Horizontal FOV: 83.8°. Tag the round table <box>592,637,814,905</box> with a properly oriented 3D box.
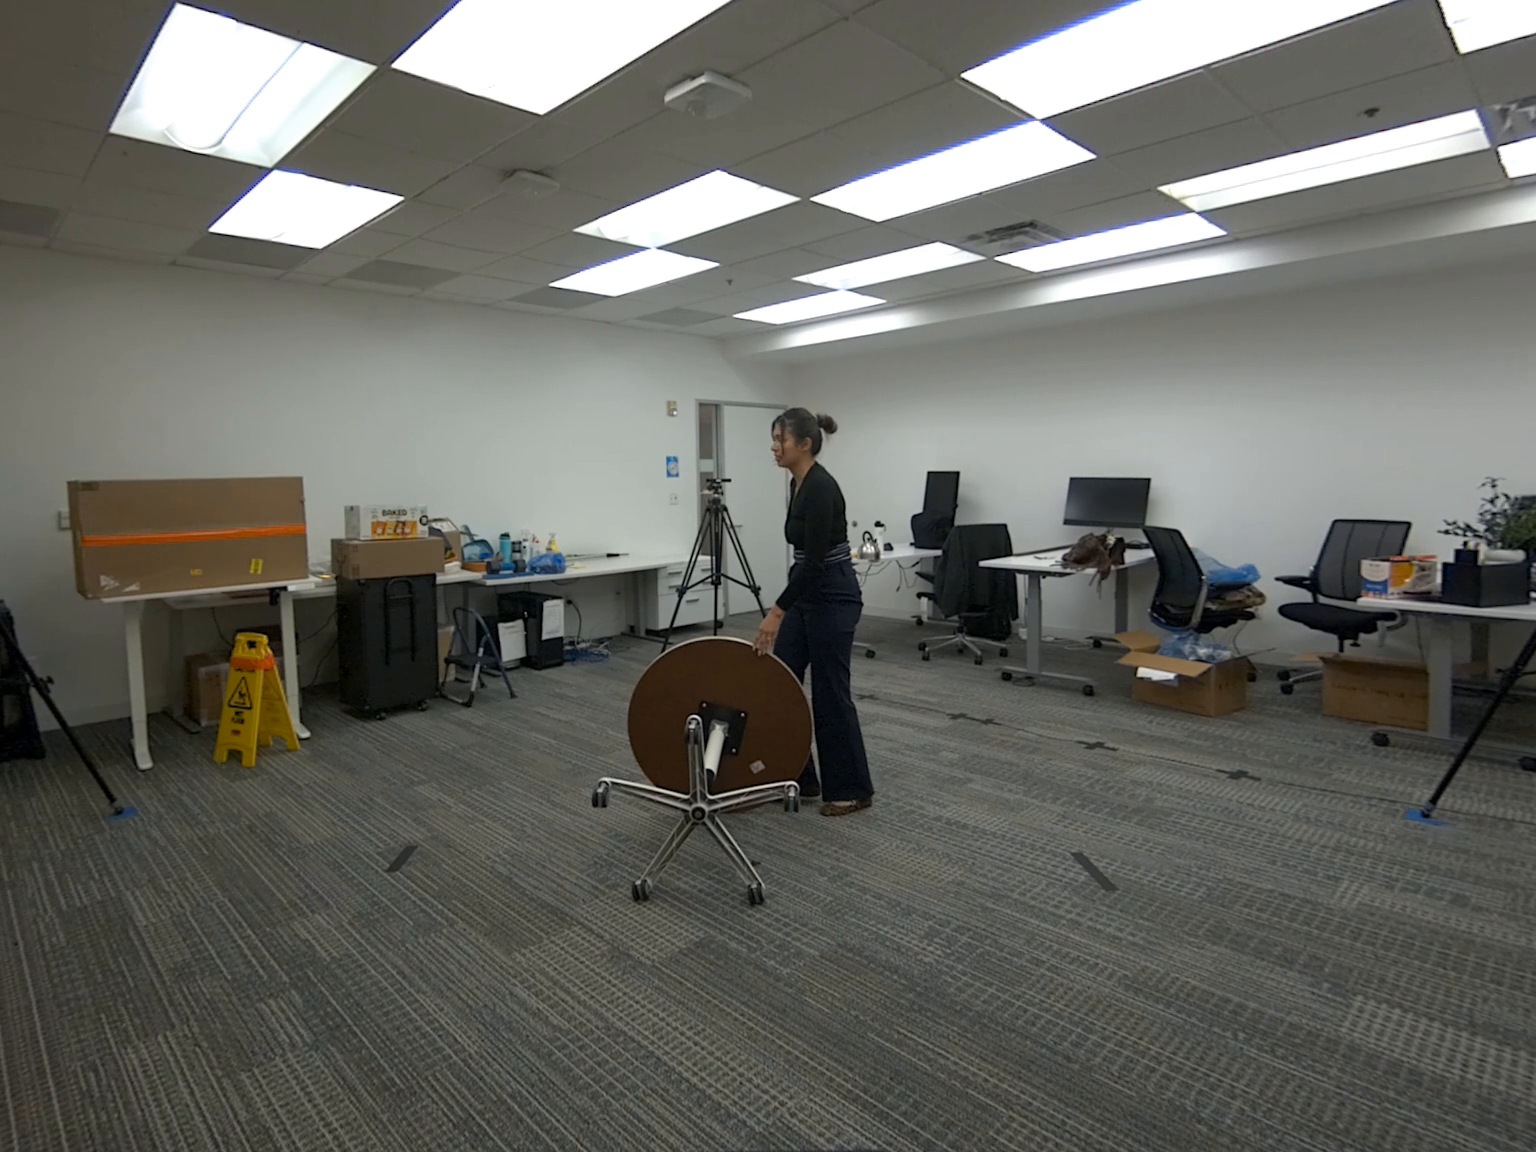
[{"bbox_3d":[-0.216,0.715,3.140,0.768,0.756,0.799,-1,12,4],"label":"round table"}]
